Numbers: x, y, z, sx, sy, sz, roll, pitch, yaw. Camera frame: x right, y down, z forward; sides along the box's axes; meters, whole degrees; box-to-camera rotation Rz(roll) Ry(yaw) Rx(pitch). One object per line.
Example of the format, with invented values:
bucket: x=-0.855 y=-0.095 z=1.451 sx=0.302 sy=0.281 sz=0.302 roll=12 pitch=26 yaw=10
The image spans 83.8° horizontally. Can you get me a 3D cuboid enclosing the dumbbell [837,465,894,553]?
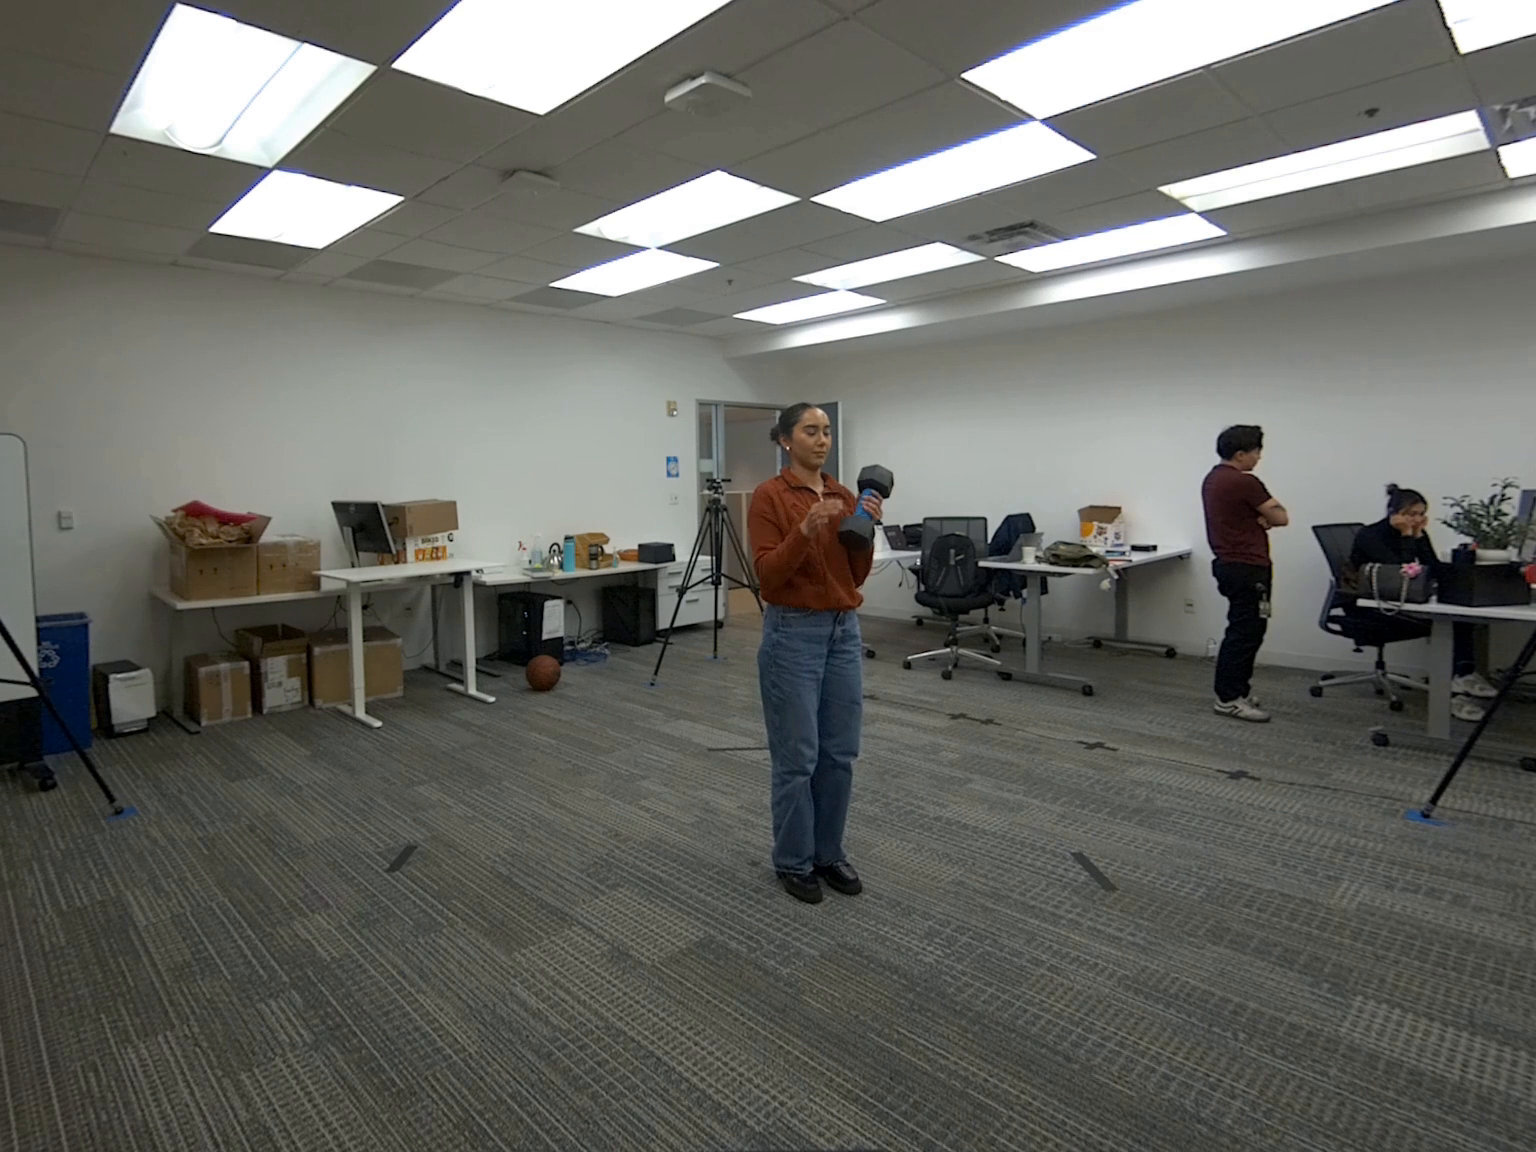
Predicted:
dumbbell: x=0.321 y=-0.220 z=2.785 sx=0.105 sy=0.296 sz=0.125 roll=40 pitch=-32 yaw=-28
